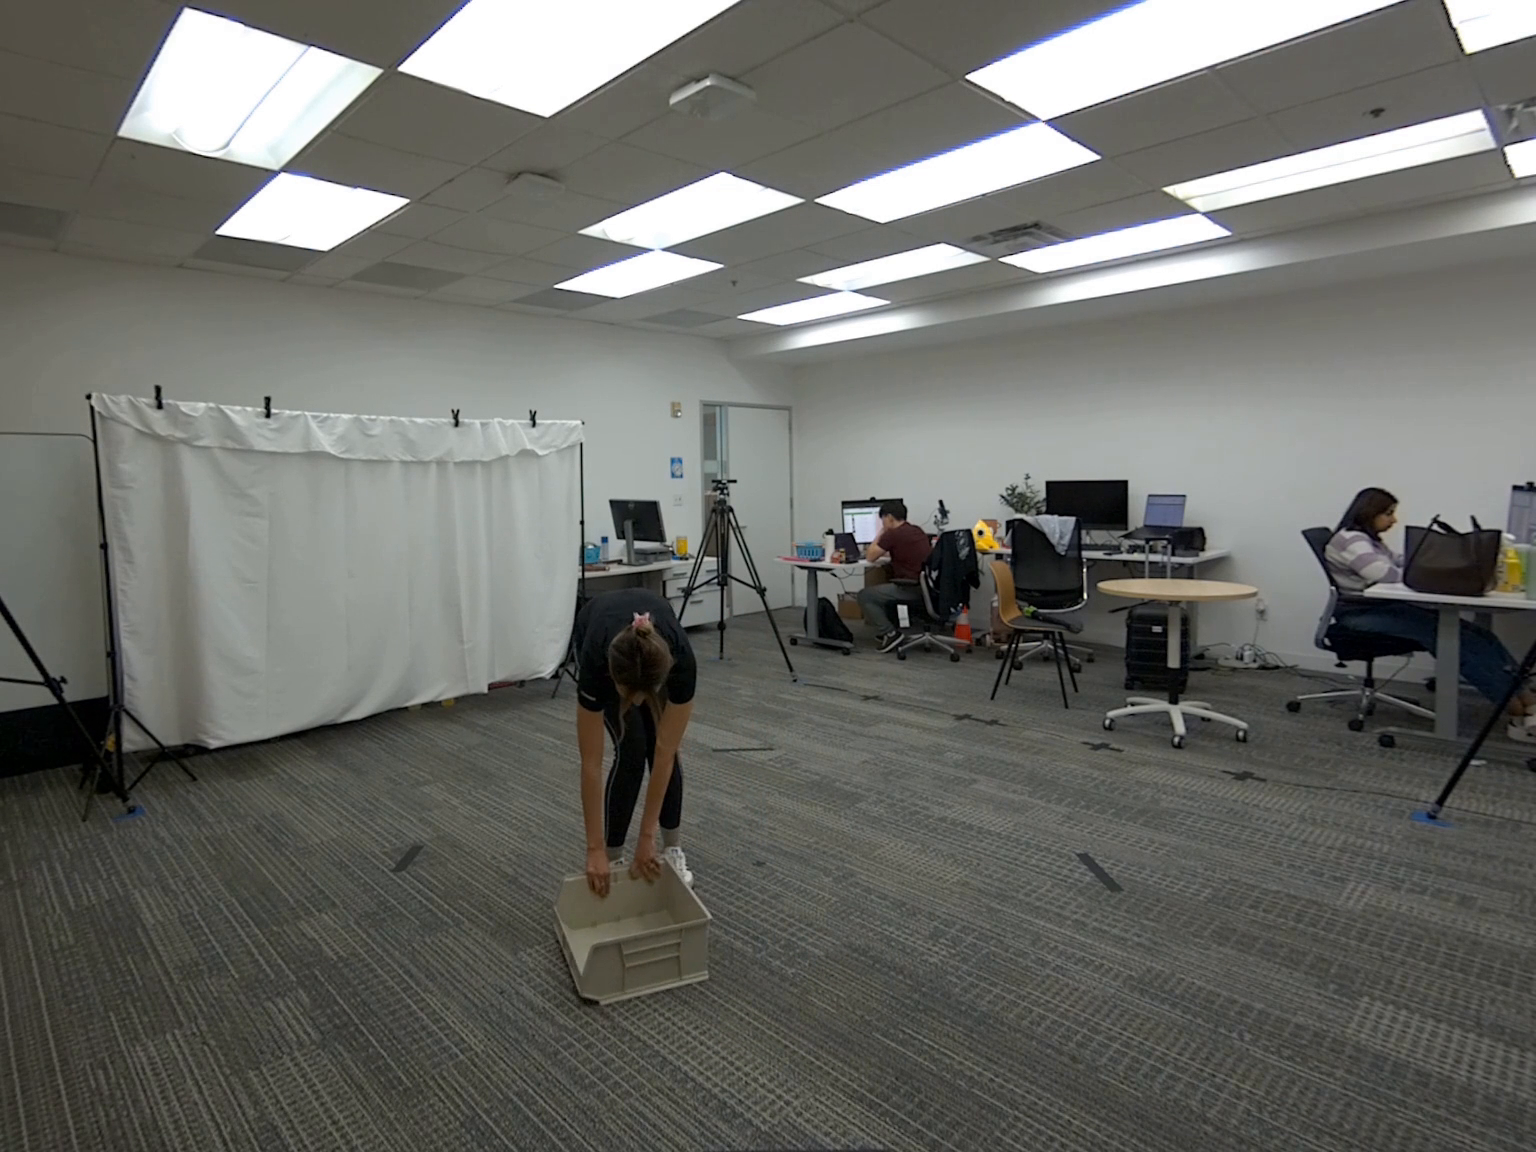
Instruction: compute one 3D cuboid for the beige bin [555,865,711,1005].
[{"bbox_3d":[-0.405,1.034,2.519,0.370,0.188,0.432,-2,5,-24],"label":"beige bin"}]
